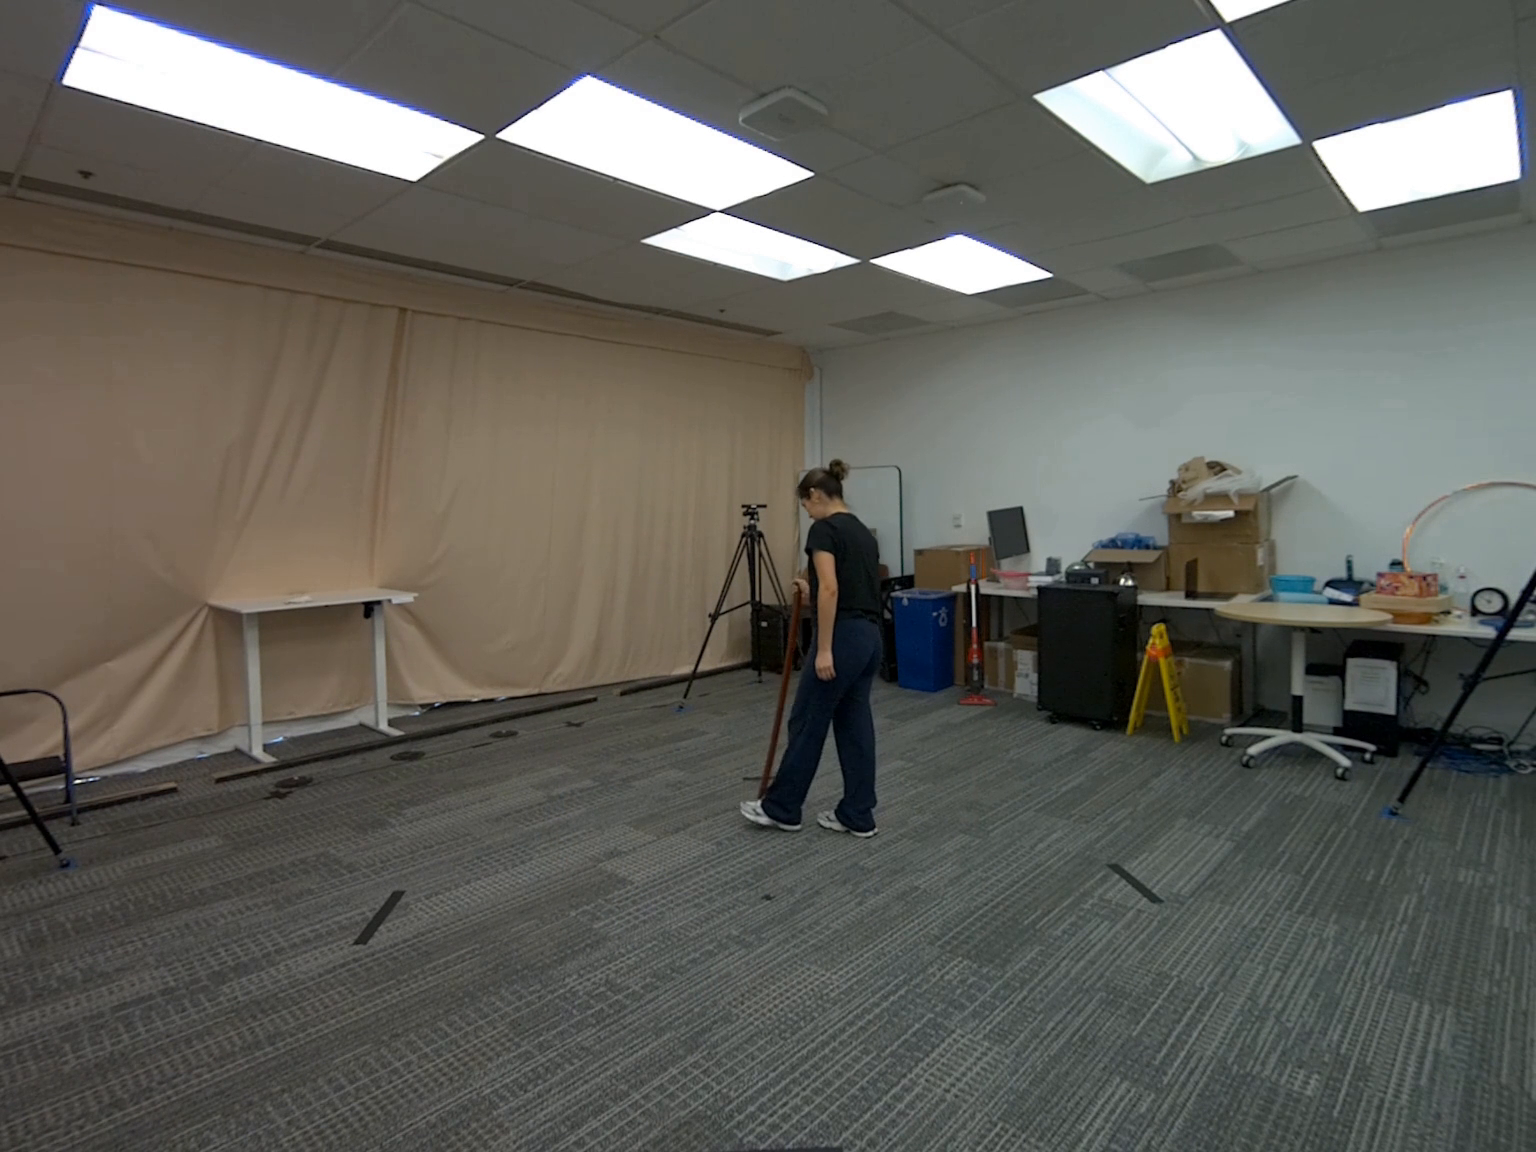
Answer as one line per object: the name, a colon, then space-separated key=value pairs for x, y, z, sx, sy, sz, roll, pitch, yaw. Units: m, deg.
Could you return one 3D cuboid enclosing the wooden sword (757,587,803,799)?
wooden sword: x=0.083 y=0.547 z=3.852 sx=0.052 sy=1.024 sz=0.024 roll=11 pitch=1 yaw=9
